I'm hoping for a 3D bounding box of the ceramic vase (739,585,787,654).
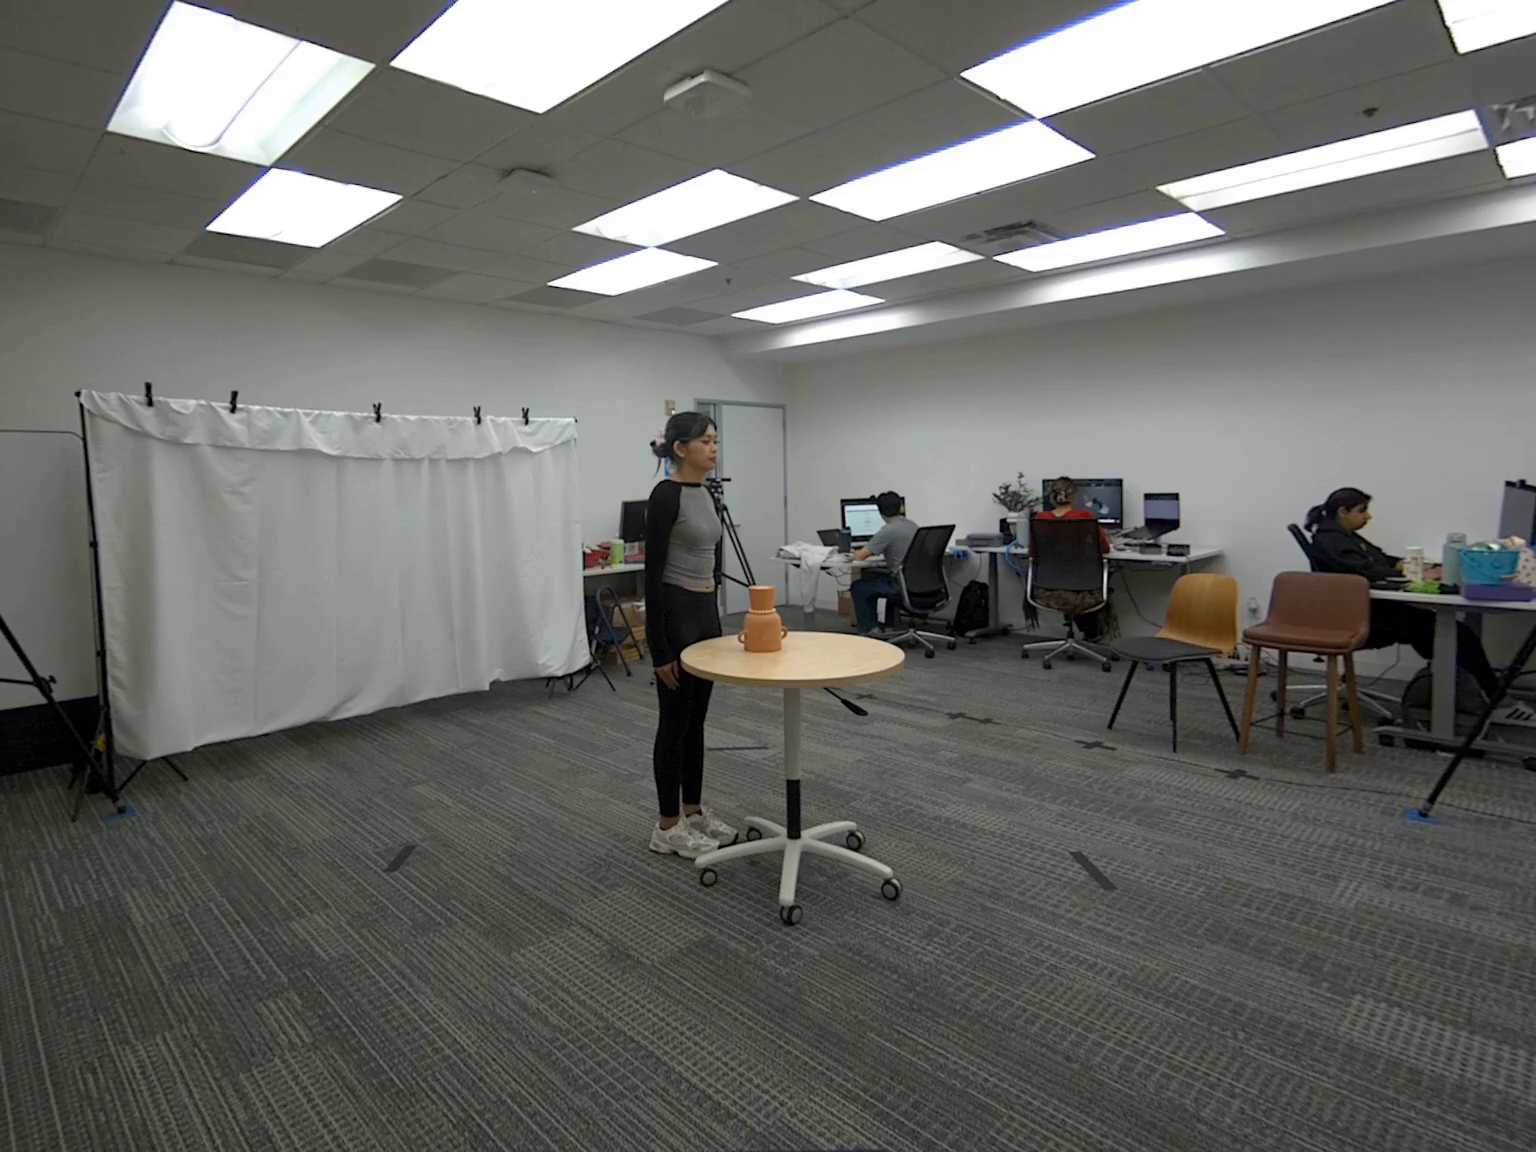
[{"bbox_3d":[-0.017,0.149,3.013,0.137,0.219,0.156,0,4,23],"label":"ceramic vase"}]
